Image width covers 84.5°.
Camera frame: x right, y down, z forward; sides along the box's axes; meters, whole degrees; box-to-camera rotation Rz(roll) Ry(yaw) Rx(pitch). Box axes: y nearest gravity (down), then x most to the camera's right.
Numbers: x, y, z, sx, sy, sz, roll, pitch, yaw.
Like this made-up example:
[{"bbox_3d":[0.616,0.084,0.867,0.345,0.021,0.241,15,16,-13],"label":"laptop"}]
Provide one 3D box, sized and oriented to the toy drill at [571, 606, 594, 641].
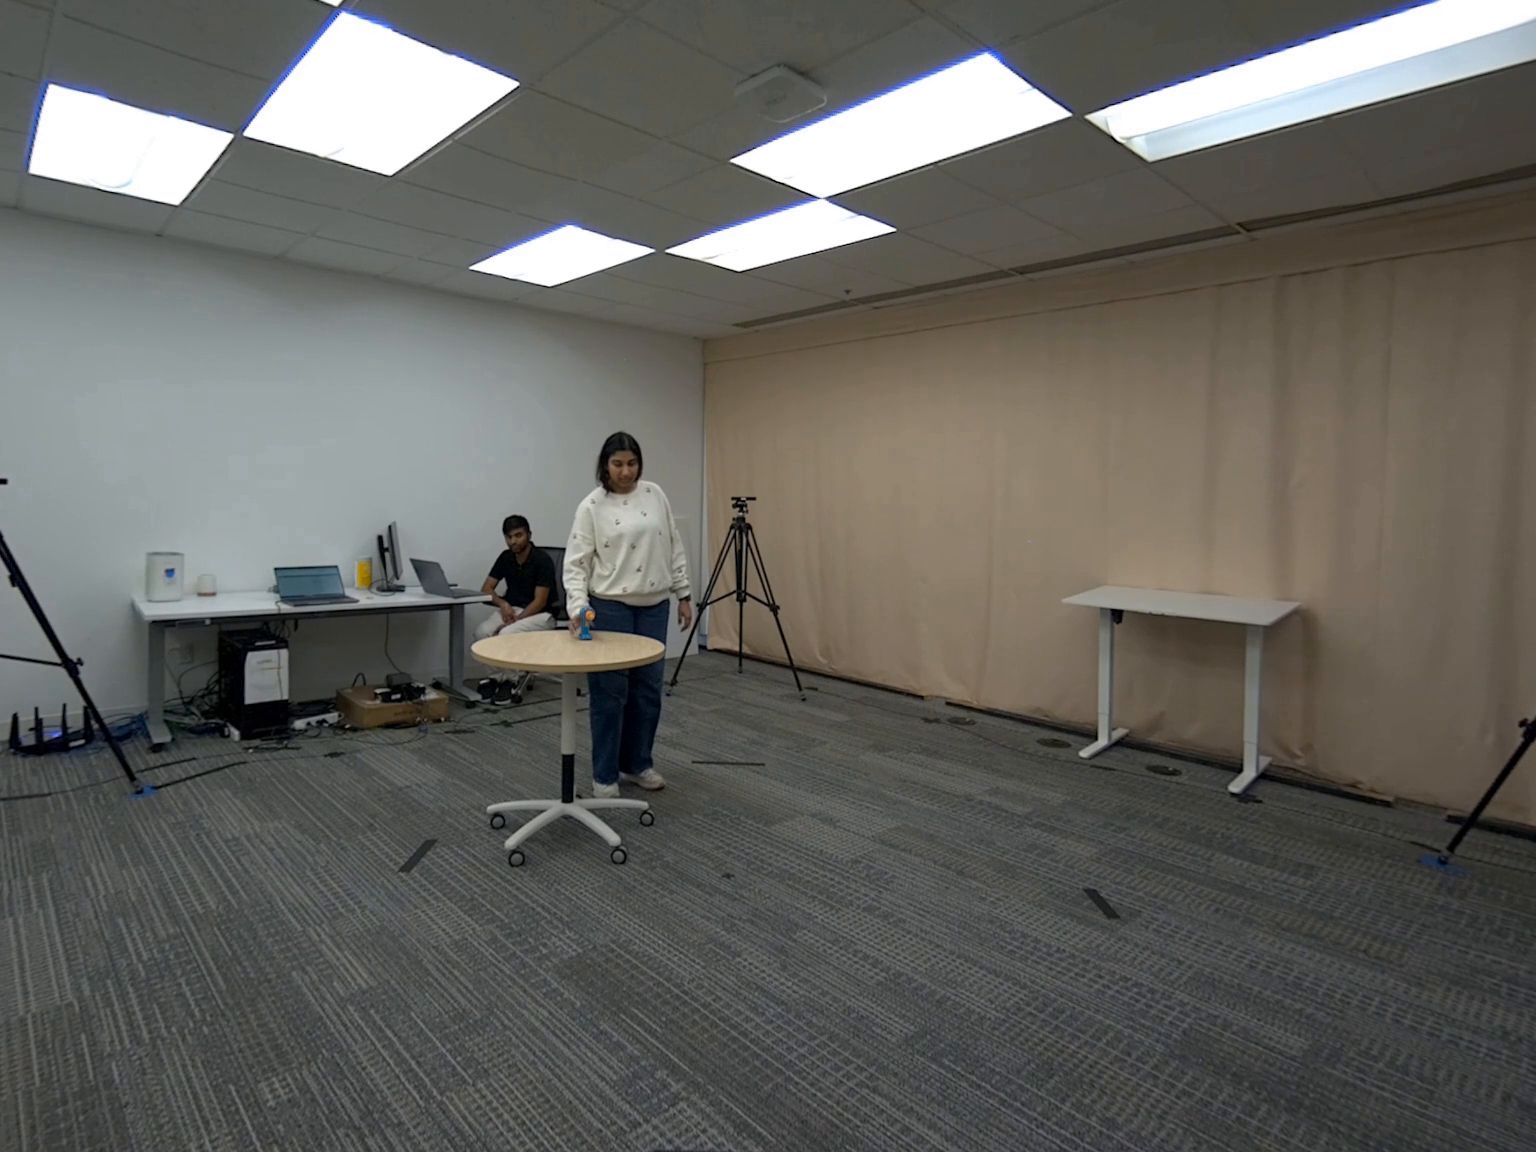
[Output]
[{"bbox_3d":[-0.779,0.200,3.530,0.060,0.146,0.173,1,4,-23],"label":"toy drill"}]
